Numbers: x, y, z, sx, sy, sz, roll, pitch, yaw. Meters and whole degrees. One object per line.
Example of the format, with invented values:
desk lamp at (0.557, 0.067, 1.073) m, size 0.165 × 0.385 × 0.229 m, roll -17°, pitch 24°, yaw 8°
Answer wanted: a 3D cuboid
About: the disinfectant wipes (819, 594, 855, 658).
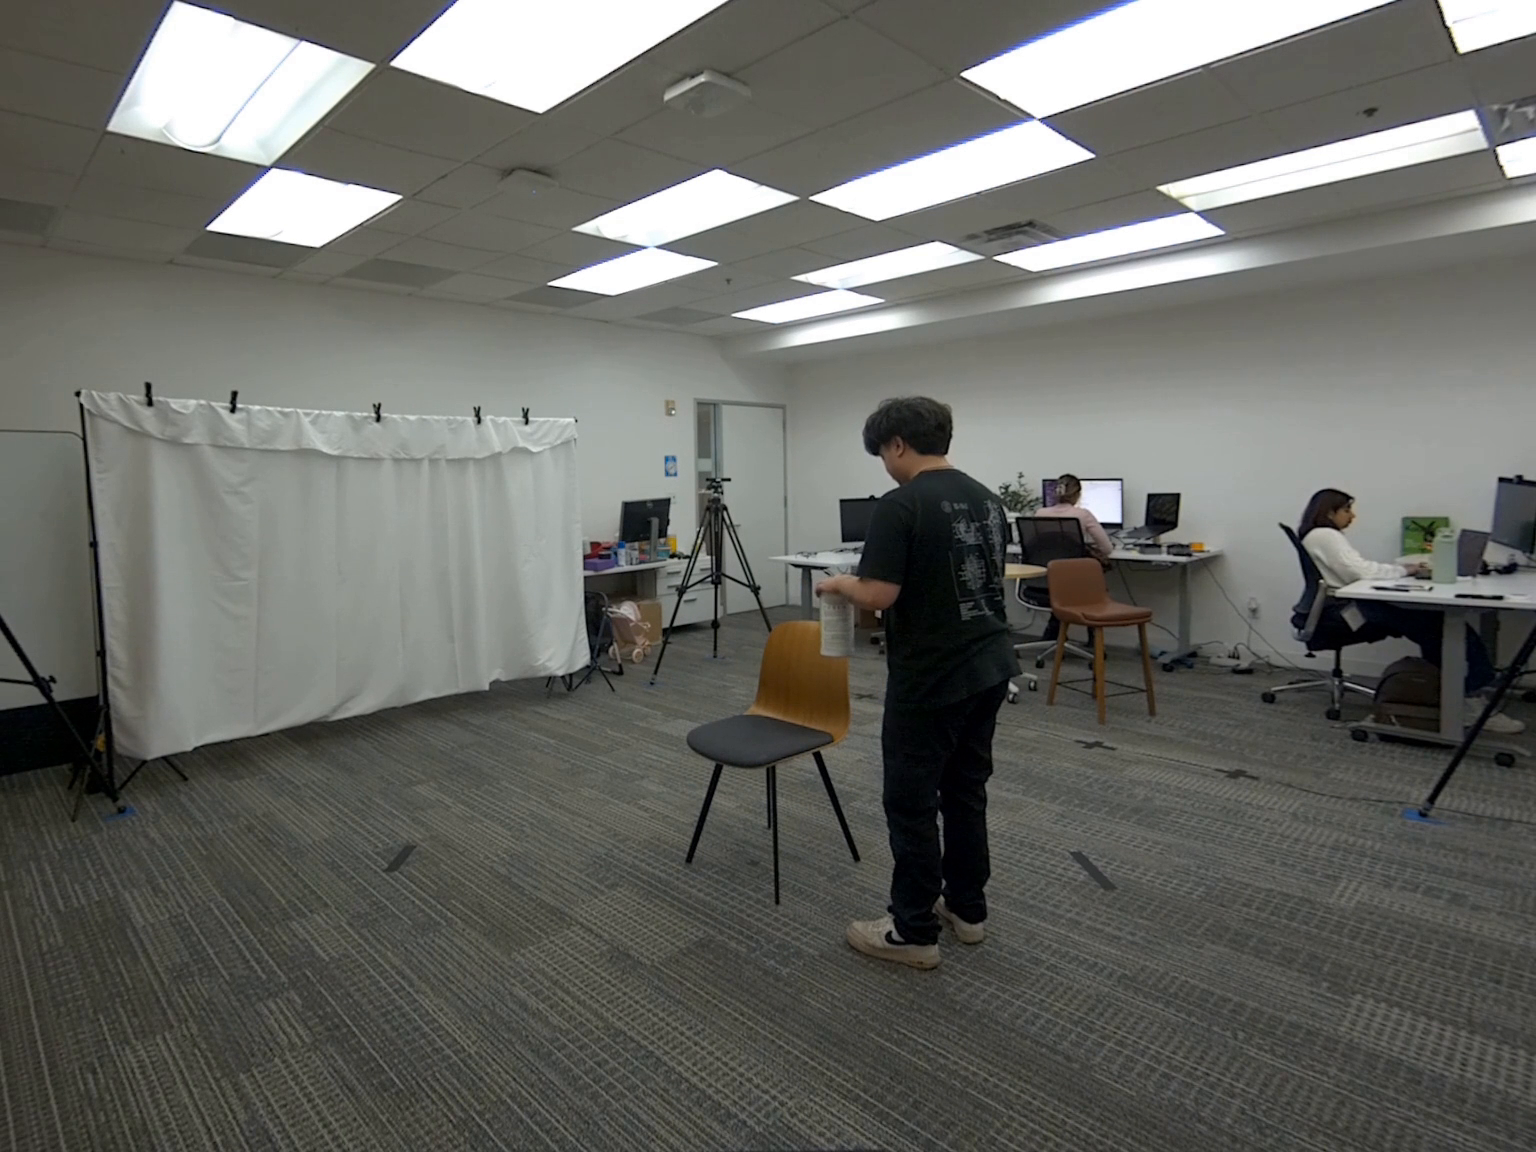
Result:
disinfectant wipes at (0.227, 0.147, 2.726) m, size 0.118 × 0.217 × 0.118 m, roll 0°, pitch 3°, yaw -2°
